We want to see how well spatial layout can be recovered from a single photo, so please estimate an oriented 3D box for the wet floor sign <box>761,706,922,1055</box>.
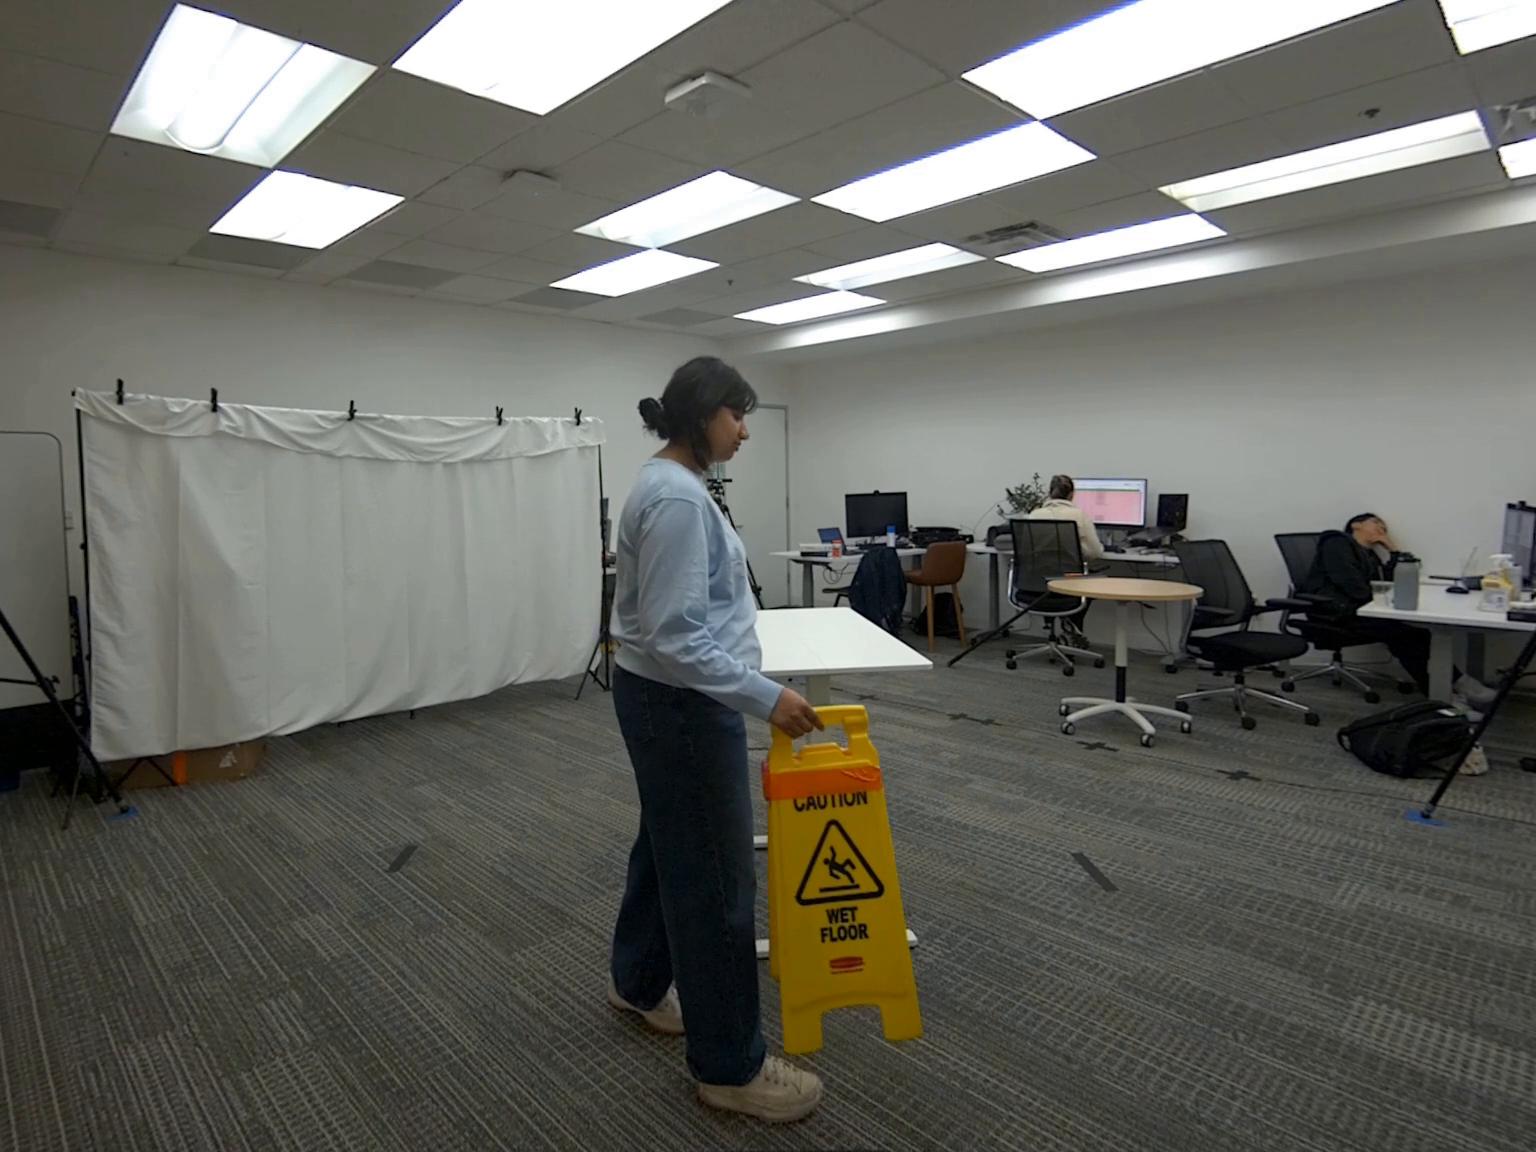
[{"bbox_3d":[0.128,0.591,1.772,0.281,0.643,0.292,-6,5,-5],"label":"wet floor sign"}]
